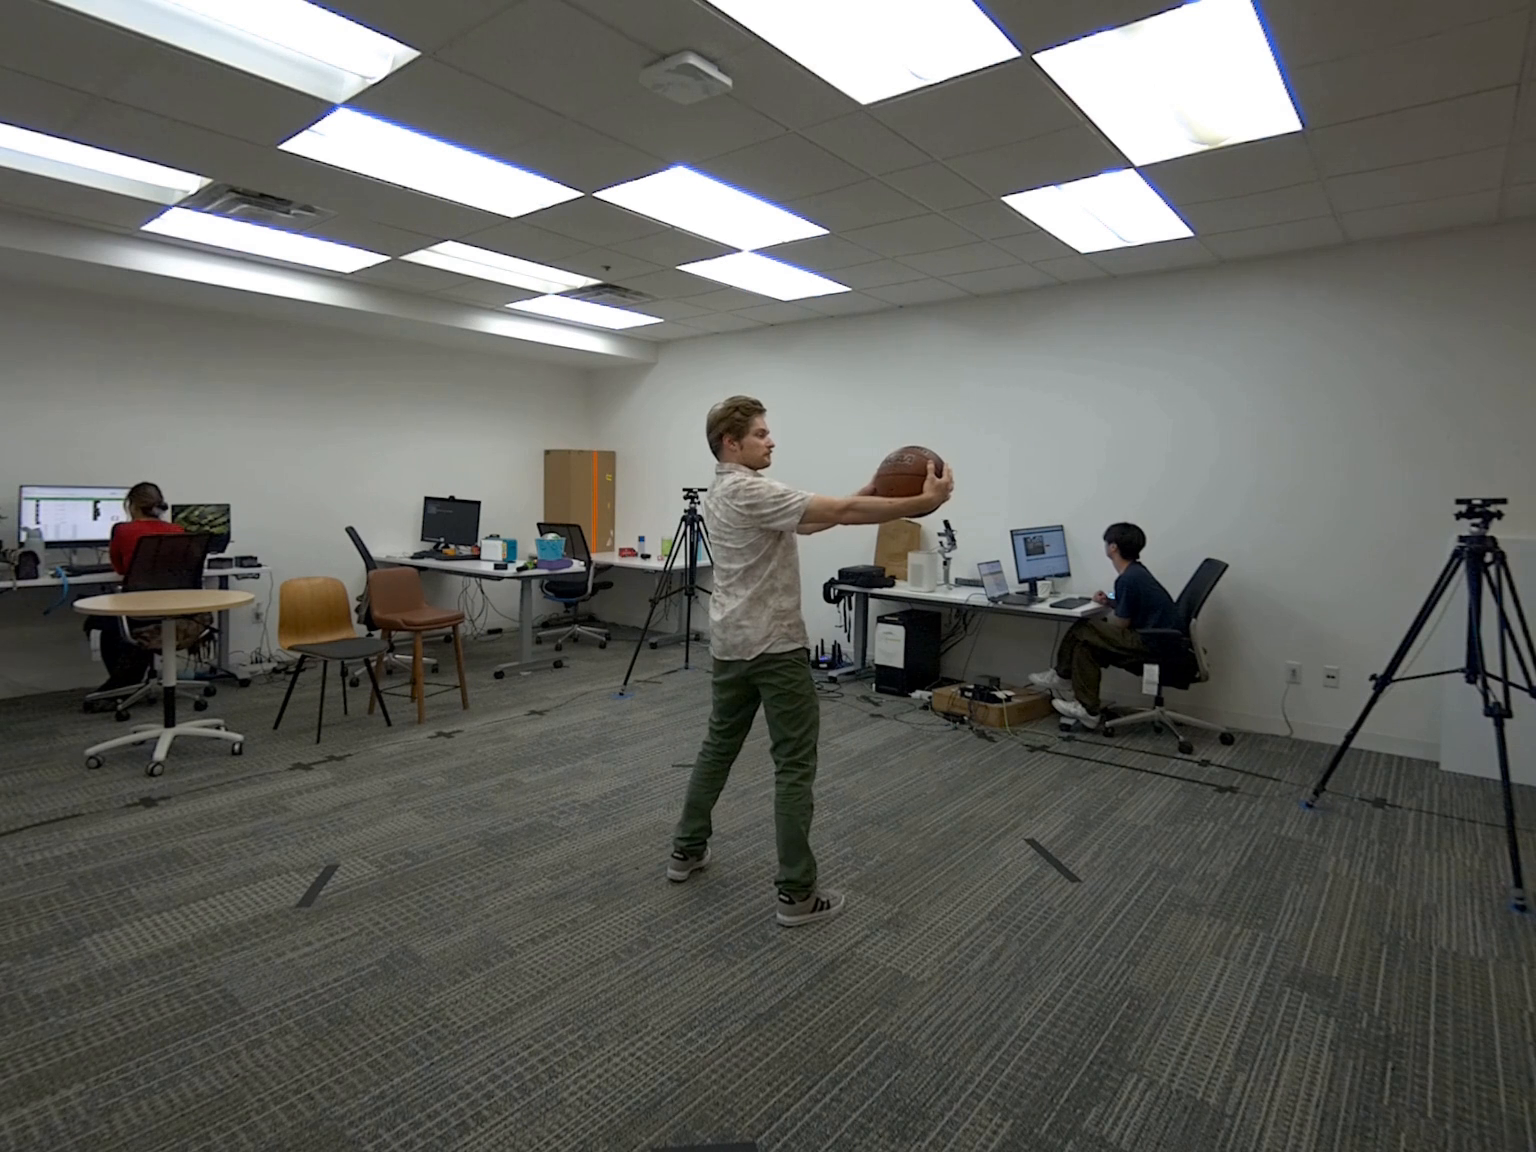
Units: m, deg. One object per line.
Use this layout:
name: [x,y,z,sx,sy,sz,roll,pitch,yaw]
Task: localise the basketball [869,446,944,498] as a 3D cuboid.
basketball: [0.474,-0.311,2.808,0.235,0.235,0.237,1,4,-2]
